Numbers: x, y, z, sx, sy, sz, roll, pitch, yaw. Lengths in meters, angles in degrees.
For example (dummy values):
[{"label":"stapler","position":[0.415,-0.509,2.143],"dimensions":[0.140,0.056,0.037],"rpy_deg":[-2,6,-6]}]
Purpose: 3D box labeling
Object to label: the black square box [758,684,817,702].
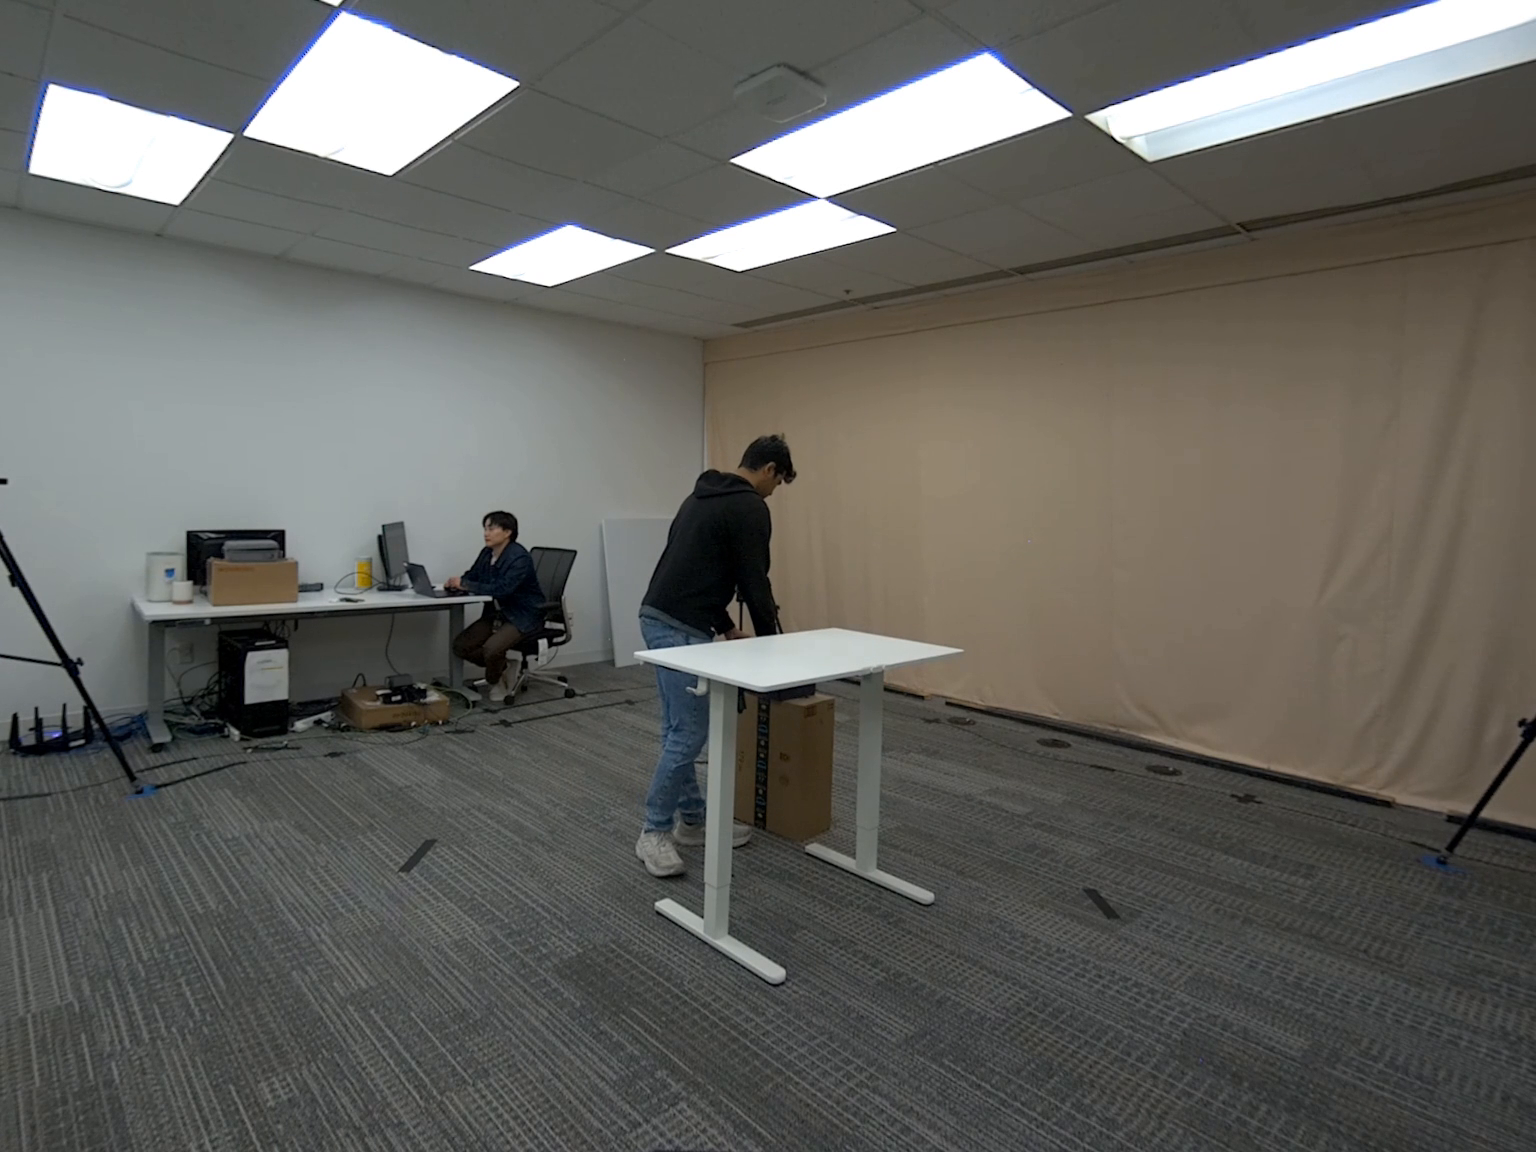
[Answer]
[{"label":"black square box","position":[0.048,0.419,3.603],"dimensions":[0.212,0.155,0.234],"rpy_deg":[-2,6,-42]}]
